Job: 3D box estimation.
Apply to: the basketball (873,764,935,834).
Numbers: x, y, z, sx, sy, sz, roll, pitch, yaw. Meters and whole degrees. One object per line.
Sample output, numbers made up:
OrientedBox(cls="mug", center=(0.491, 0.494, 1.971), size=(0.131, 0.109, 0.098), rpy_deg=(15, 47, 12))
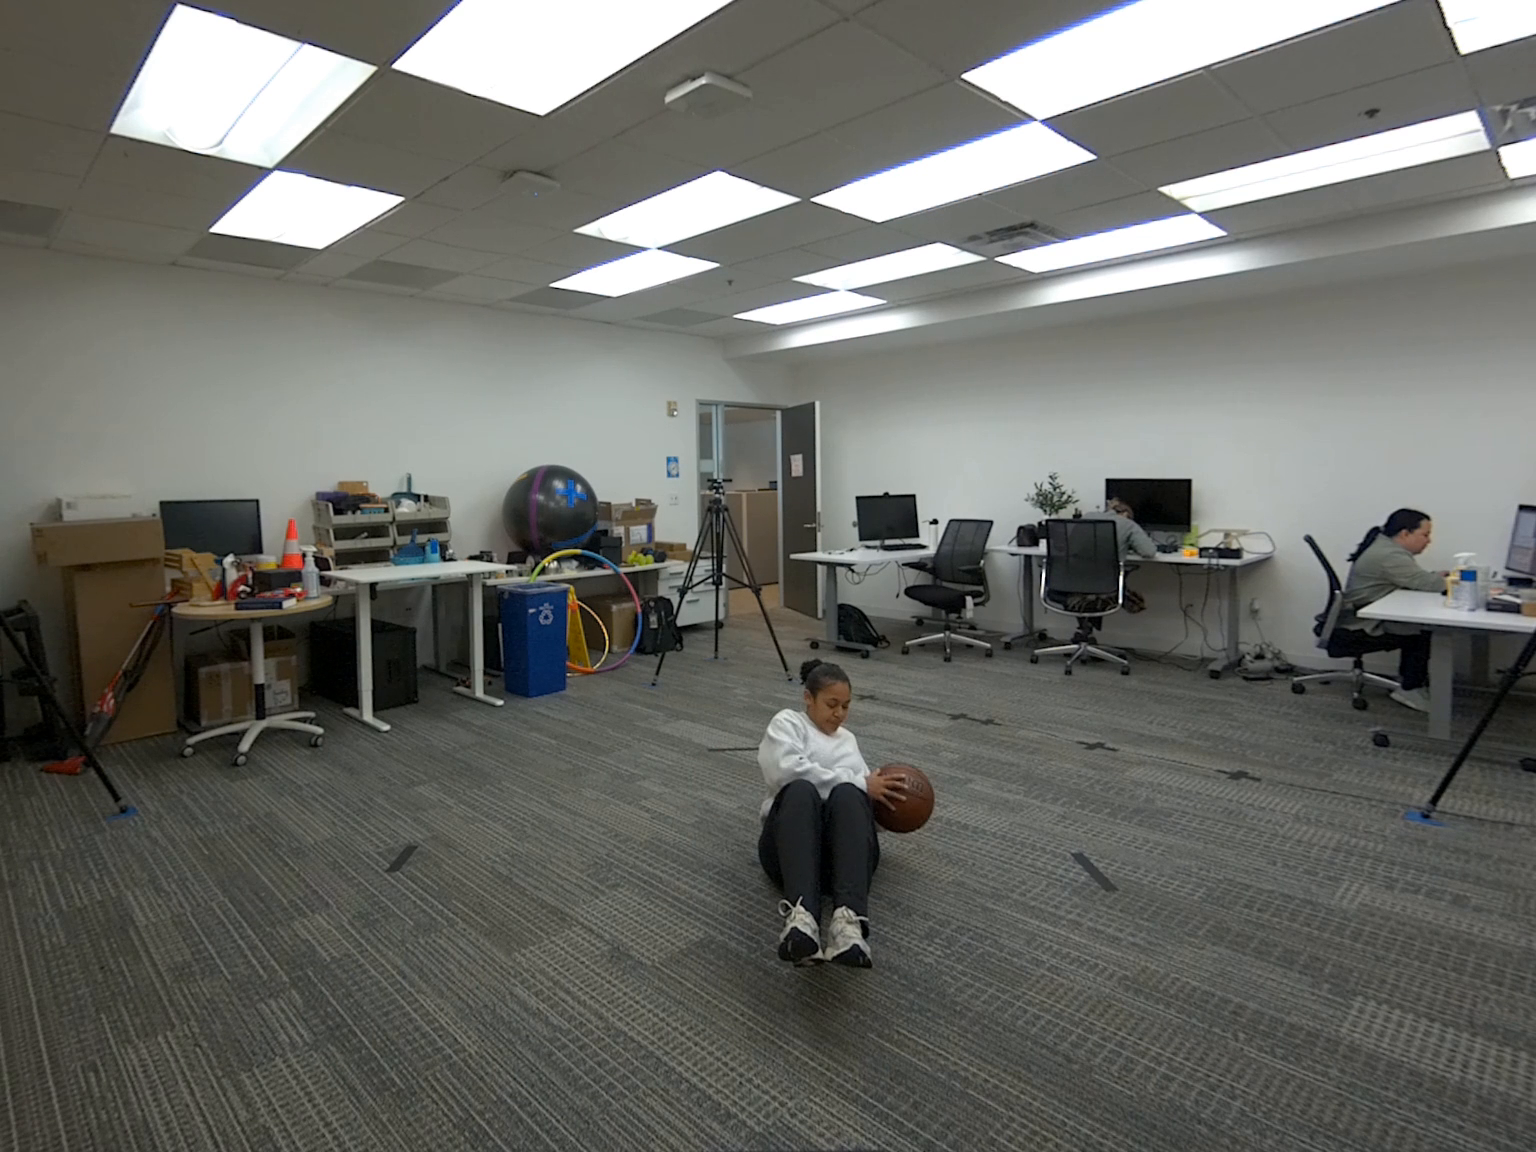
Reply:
OrientedBox(cls="basketball", center=(0.443, 0.766, 3.009), size=(0.236, 0.235, 0.237), rpy_deg=(-1, 5, -2))
